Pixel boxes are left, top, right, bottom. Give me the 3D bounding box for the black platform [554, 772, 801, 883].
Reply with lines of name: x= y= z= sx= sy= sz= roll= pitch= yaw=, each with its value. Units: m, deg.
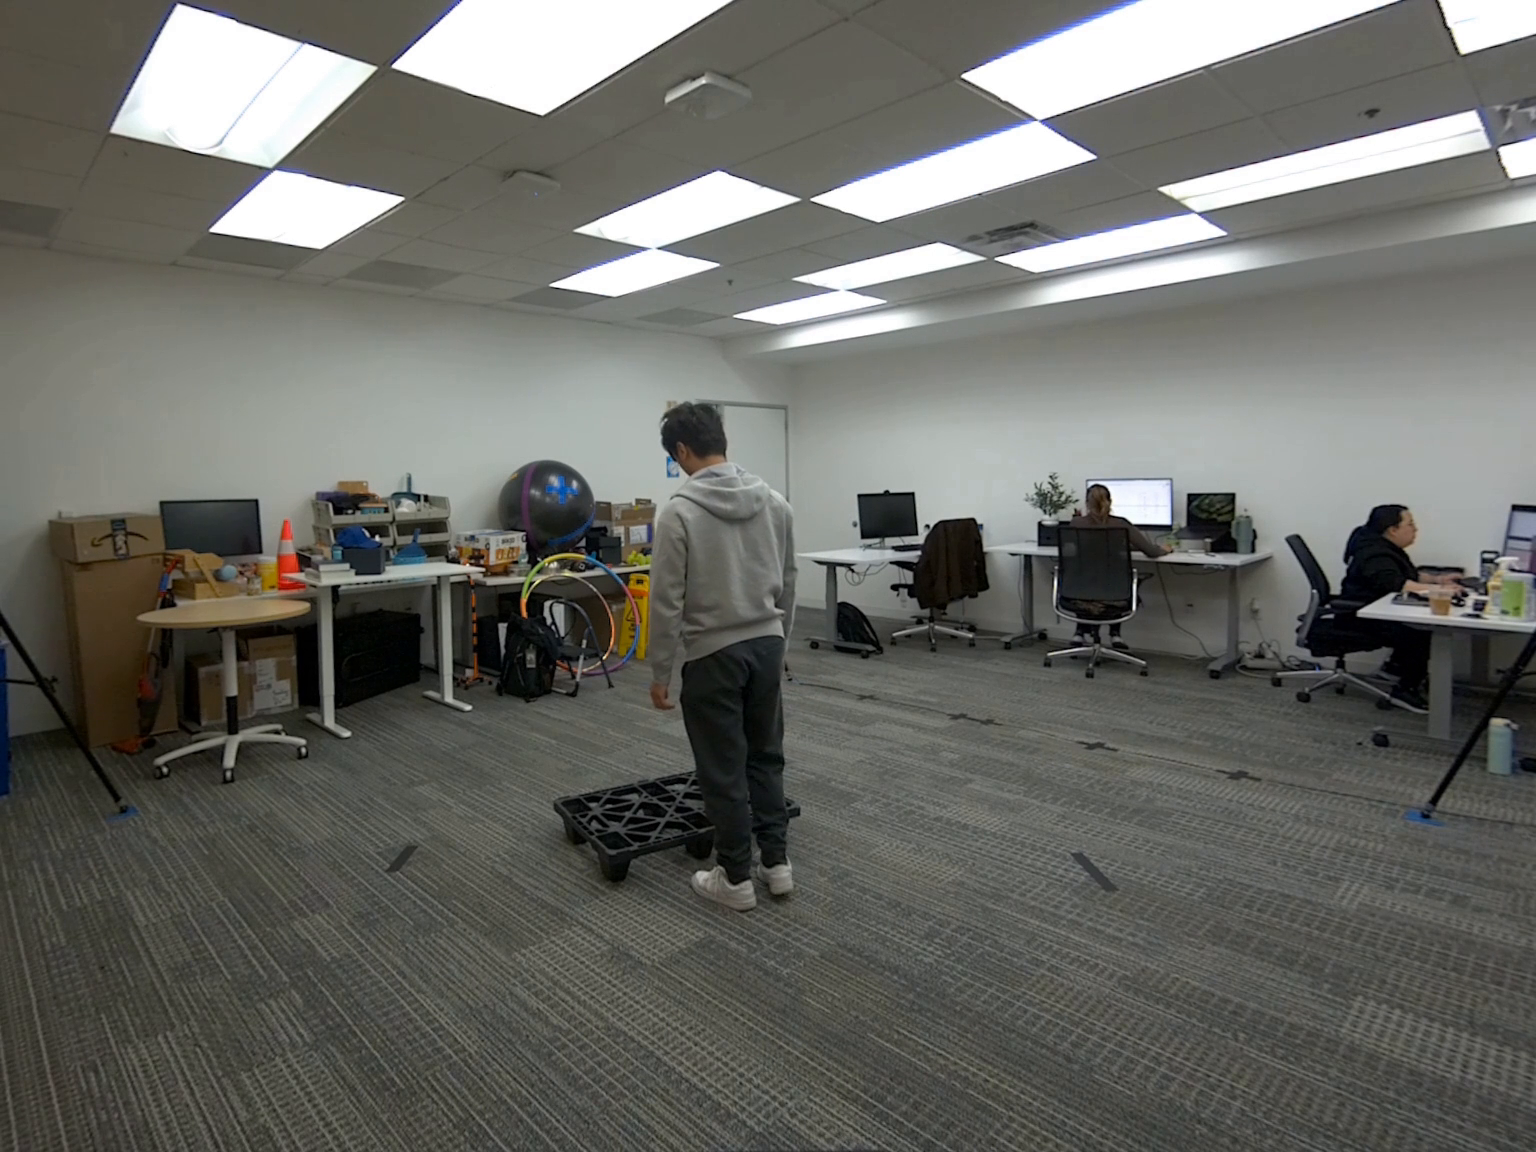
black platform: x=-0.355 y=0.956 z=3.352 sx=0.786 sy=0.142 sz=0.623 roll=-5 pitch=8 yaw=-31
